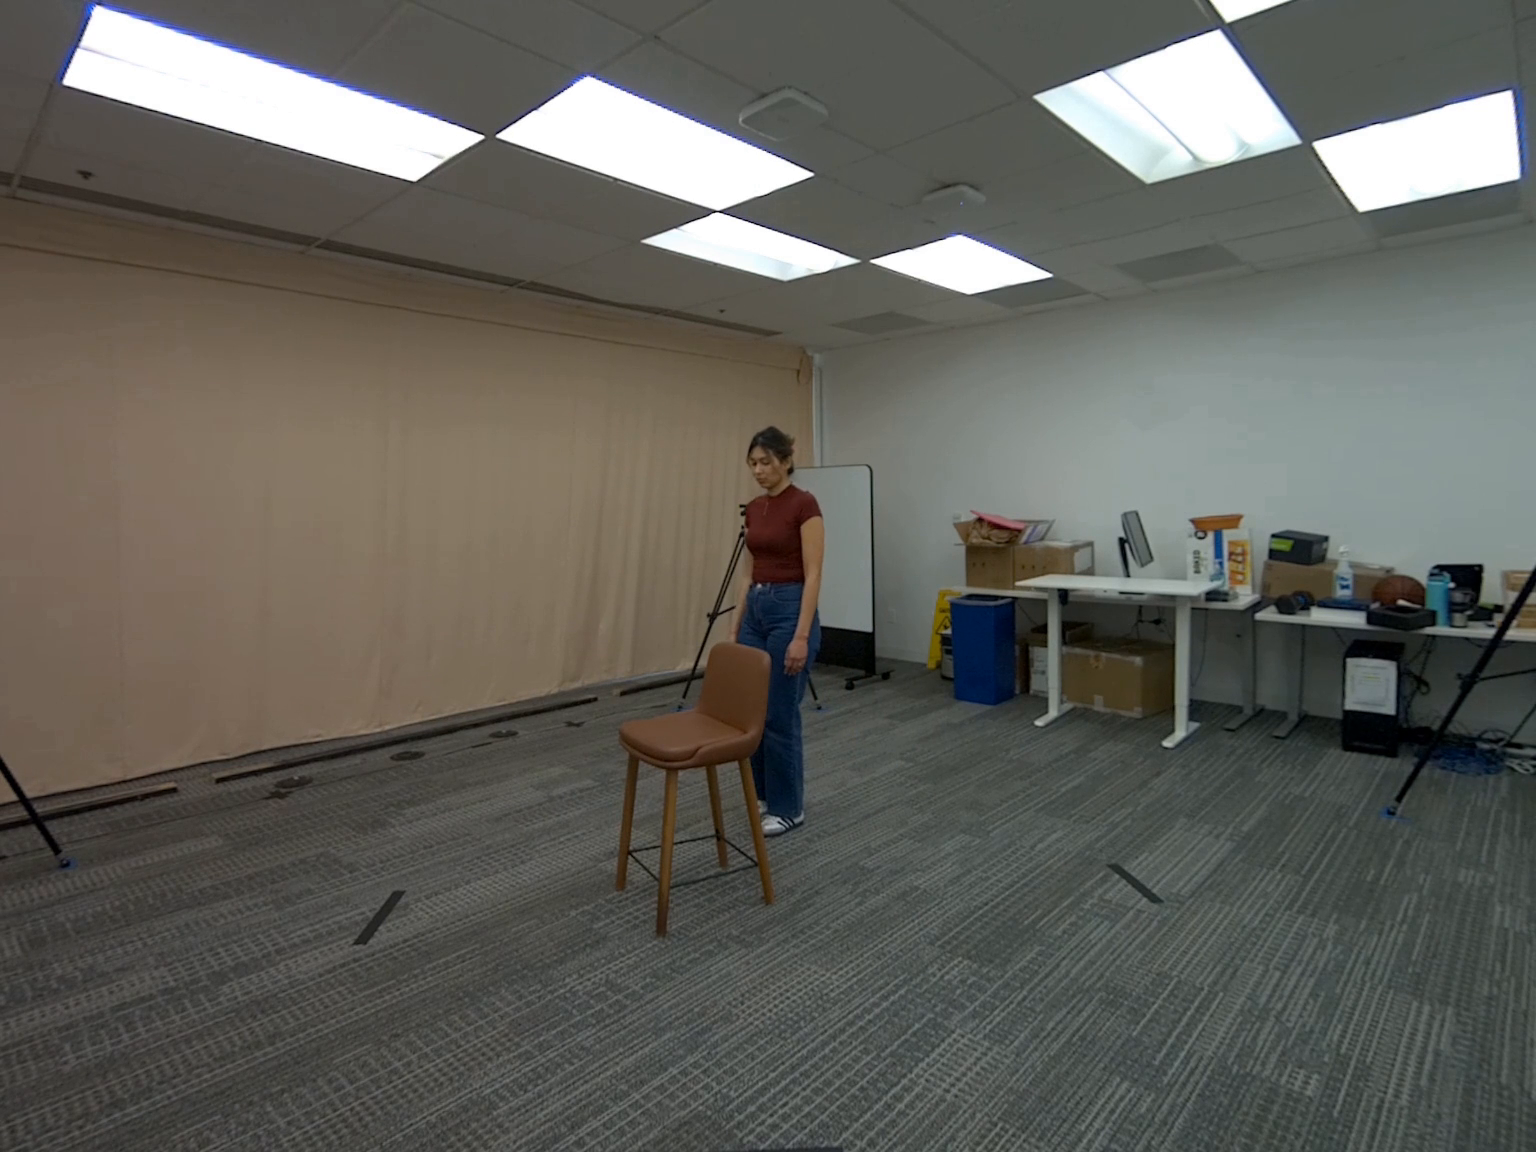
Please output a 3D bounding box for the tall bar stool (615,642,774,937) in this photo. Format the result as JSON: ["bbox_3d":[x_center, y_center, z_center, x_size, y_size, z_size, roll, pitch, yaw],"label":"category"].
[{"bbox_3d":[-0.264,0.707,2.980,0.455,0.888,0.469,-1,3,-29],"label":"tall bar stool"}]
